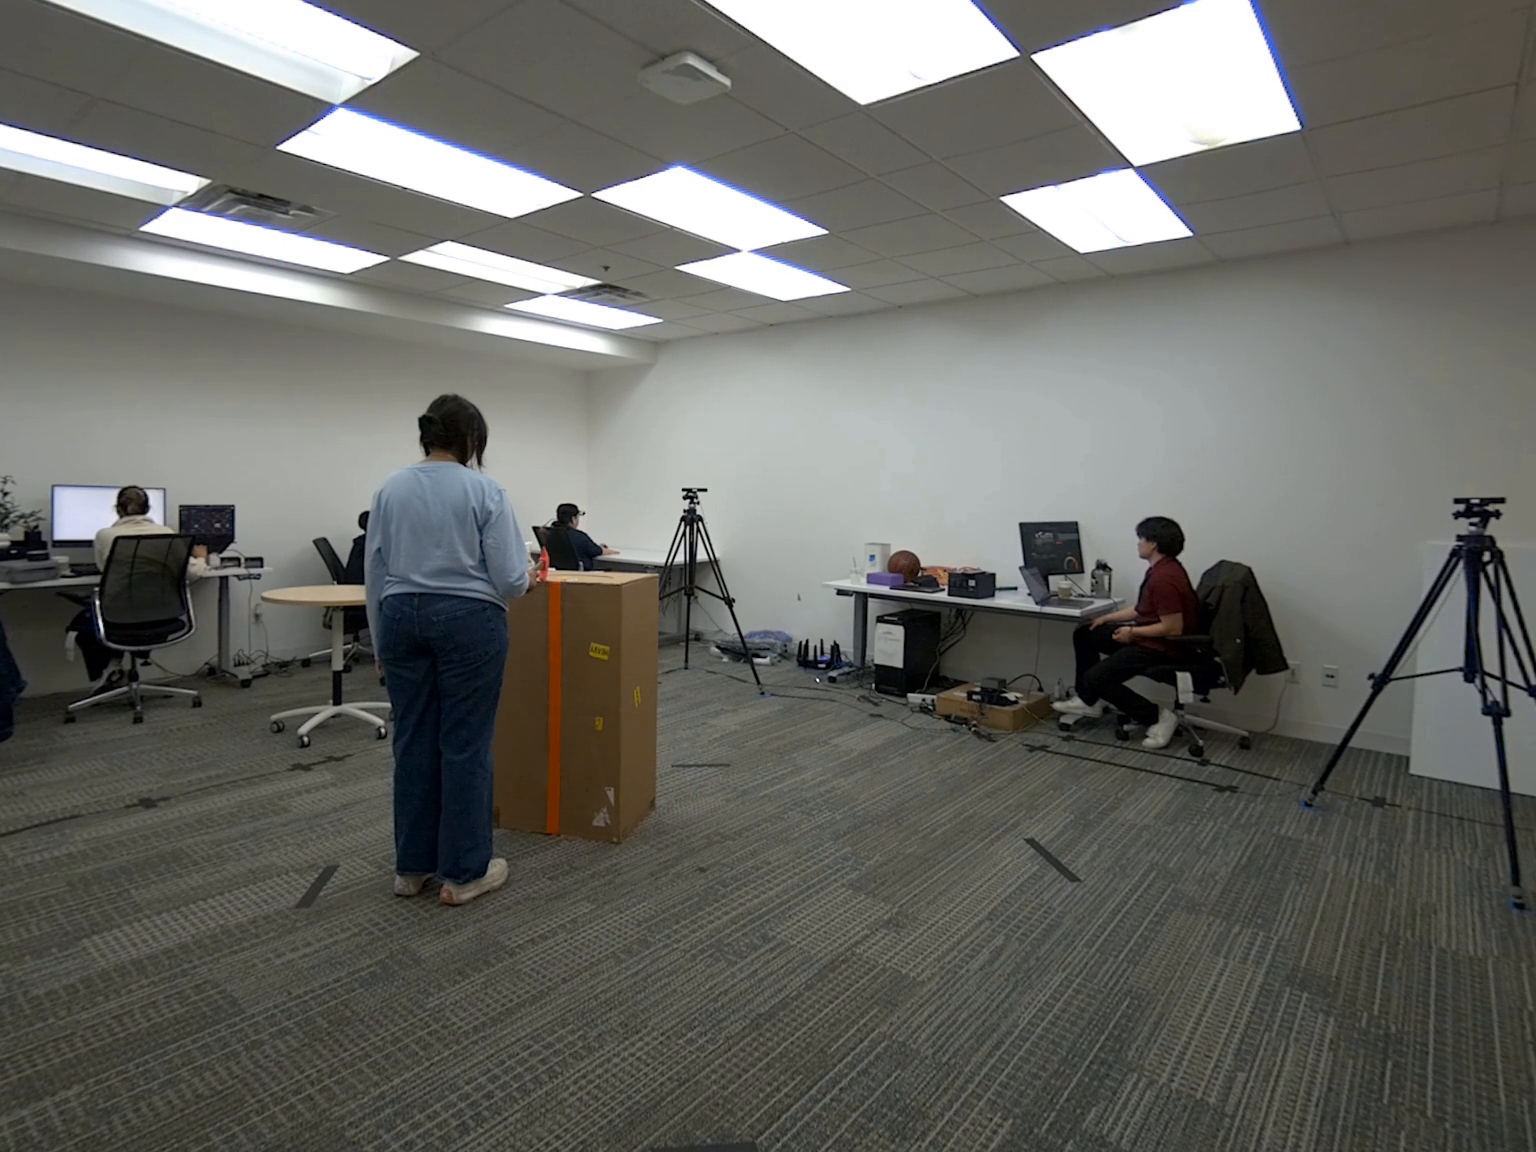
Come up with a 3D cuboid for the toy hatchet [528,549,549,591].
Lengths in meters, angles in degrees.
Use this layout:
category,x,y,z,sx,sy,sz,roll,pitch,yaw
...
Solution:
category,x,y,z,sx,sy,sz,roll,pitch,yaw
toy hatchet,-0.911,0.000,3.293,0.030,0.128,0.276,5,33,1
